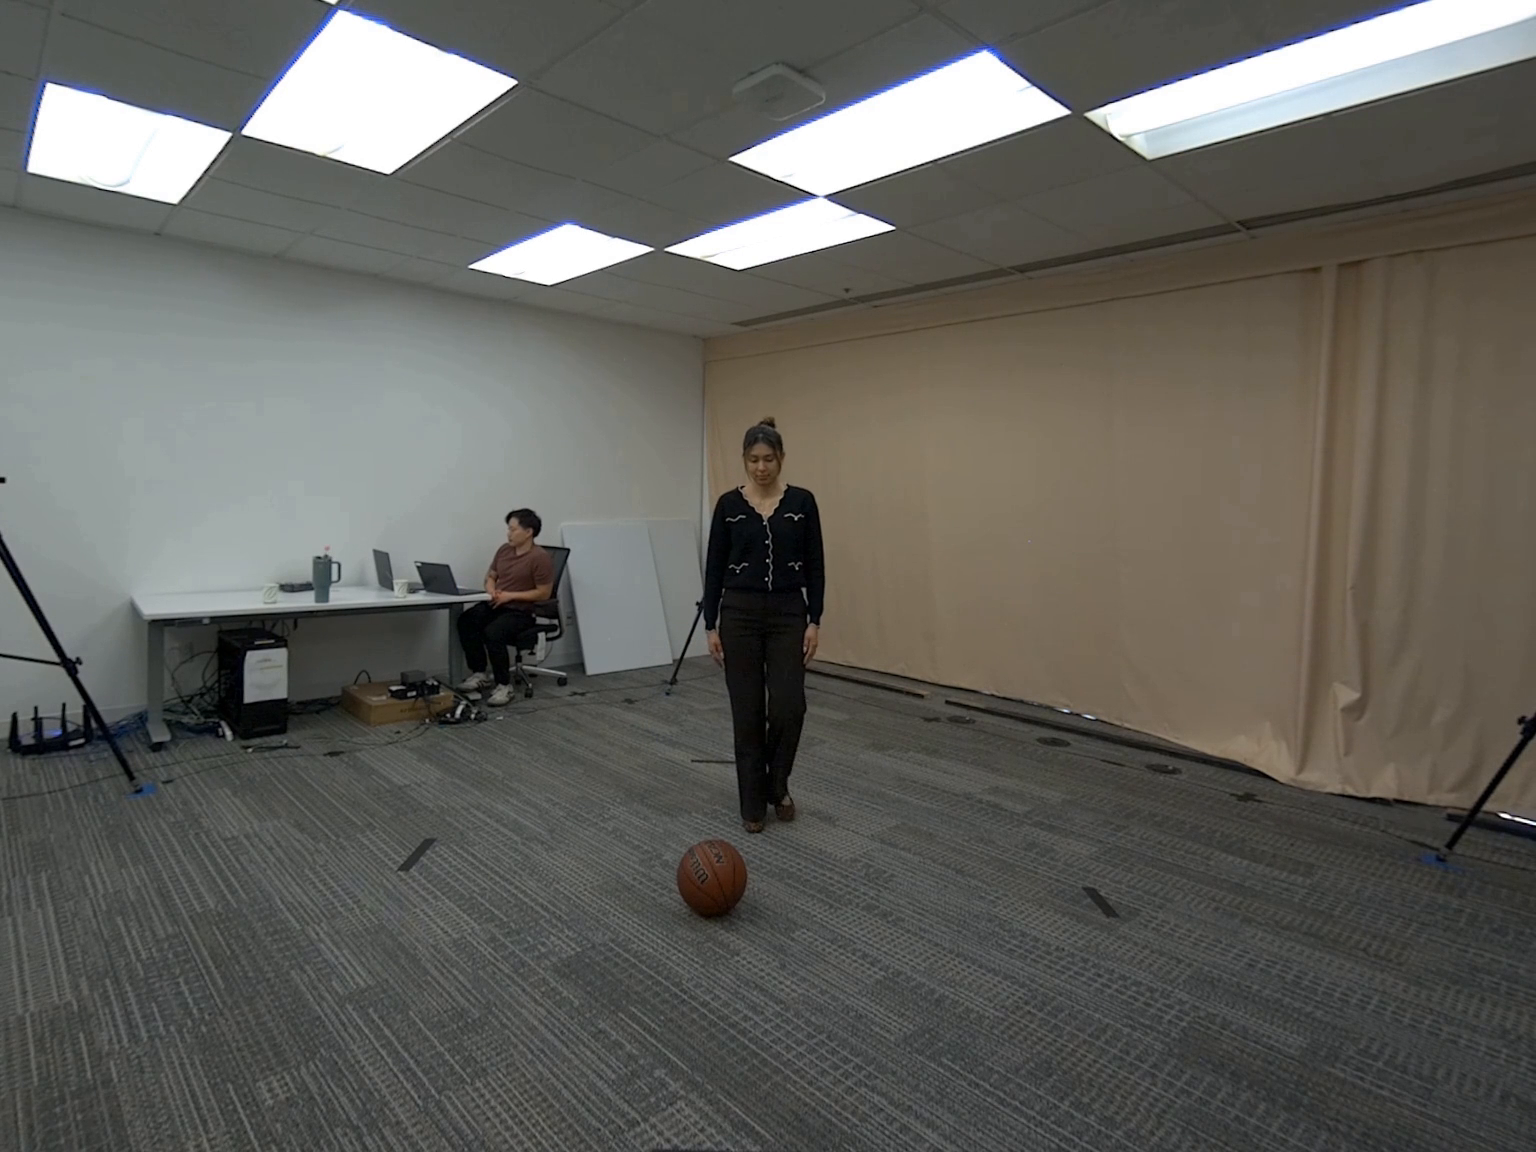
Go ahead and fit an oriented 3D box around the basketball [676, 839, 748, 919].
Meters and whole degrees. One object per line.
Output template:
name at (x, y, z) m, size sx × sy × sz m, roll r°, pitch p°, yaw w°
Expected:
basketball at (-0.193, 1.011, 2.818) m, size 0.236 × 0.235 × 0.237 m, roll 1°, pitch 4°, yaw -1°
